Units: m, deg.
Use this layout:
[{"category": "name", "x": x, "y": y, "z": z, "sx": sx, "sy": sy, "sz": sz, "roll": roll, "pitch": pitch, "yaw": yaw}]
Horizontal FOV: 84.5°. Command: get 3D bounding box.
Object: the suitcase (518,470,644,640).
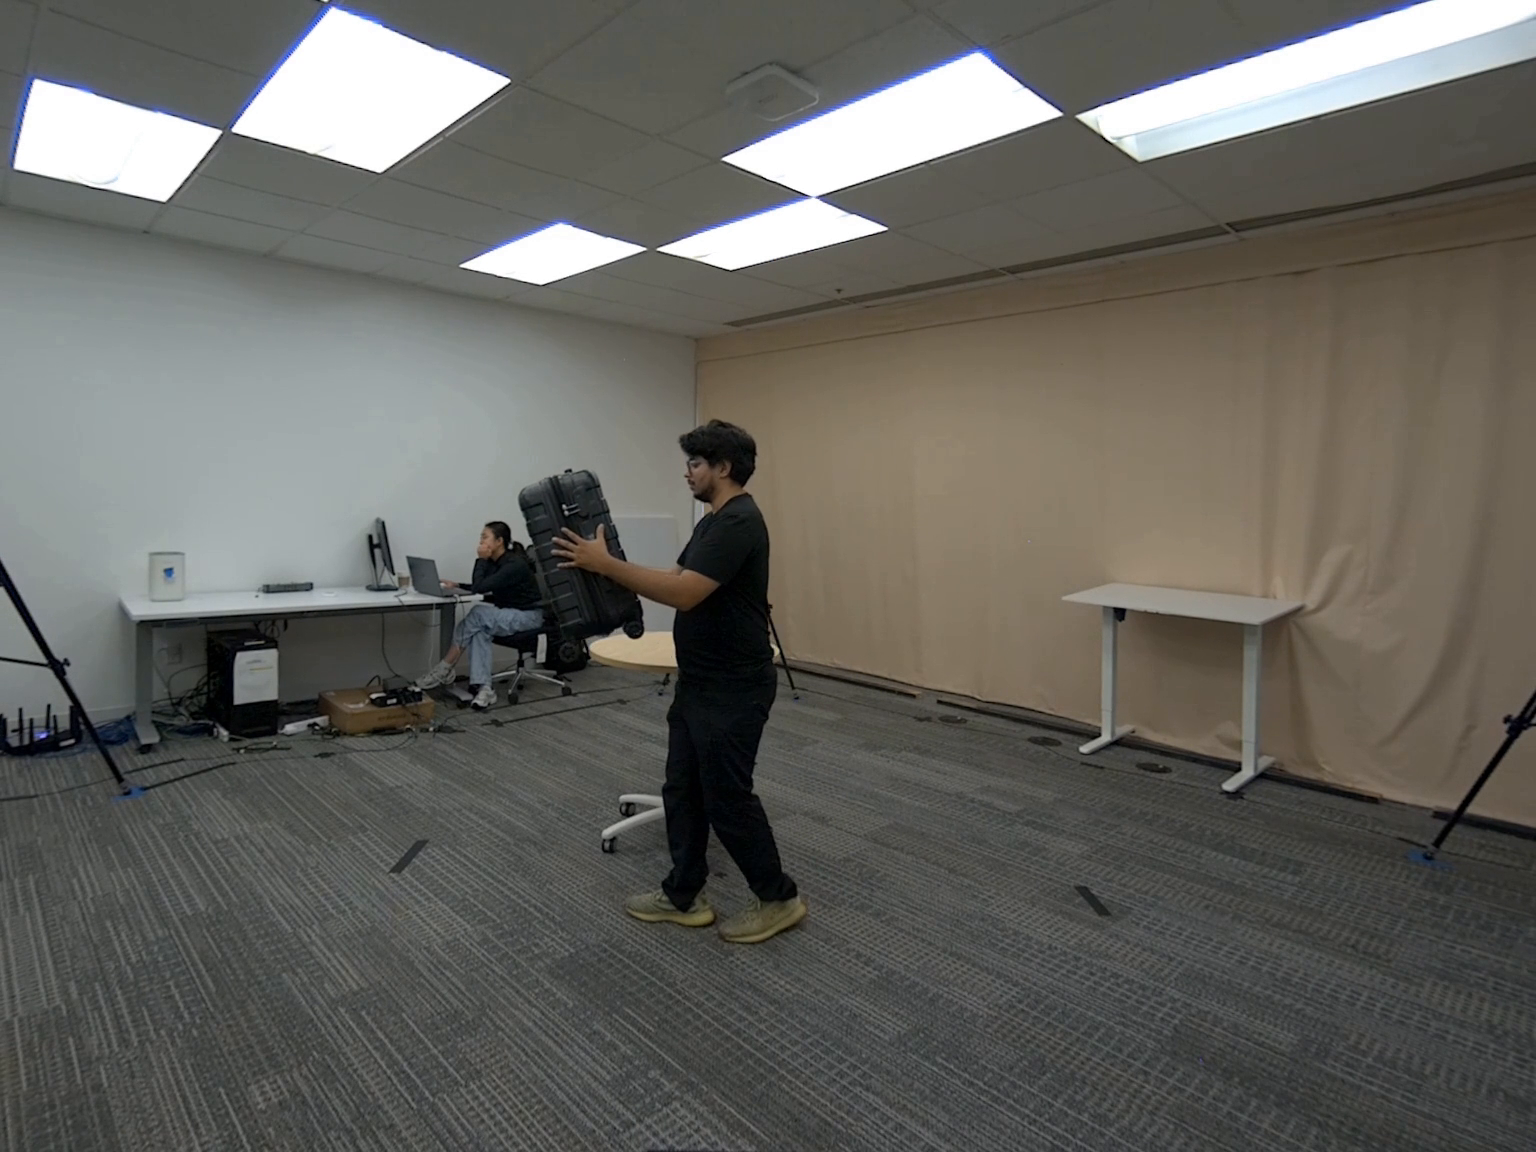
[{"category": "suitcase", "x": -0.581, "y": -0.048, "z": 2.638, "sx": 0.247, "sy": 0.549, "sz": 0.378, "roll": -18, "pitch": 1, "yaw": -10}]
